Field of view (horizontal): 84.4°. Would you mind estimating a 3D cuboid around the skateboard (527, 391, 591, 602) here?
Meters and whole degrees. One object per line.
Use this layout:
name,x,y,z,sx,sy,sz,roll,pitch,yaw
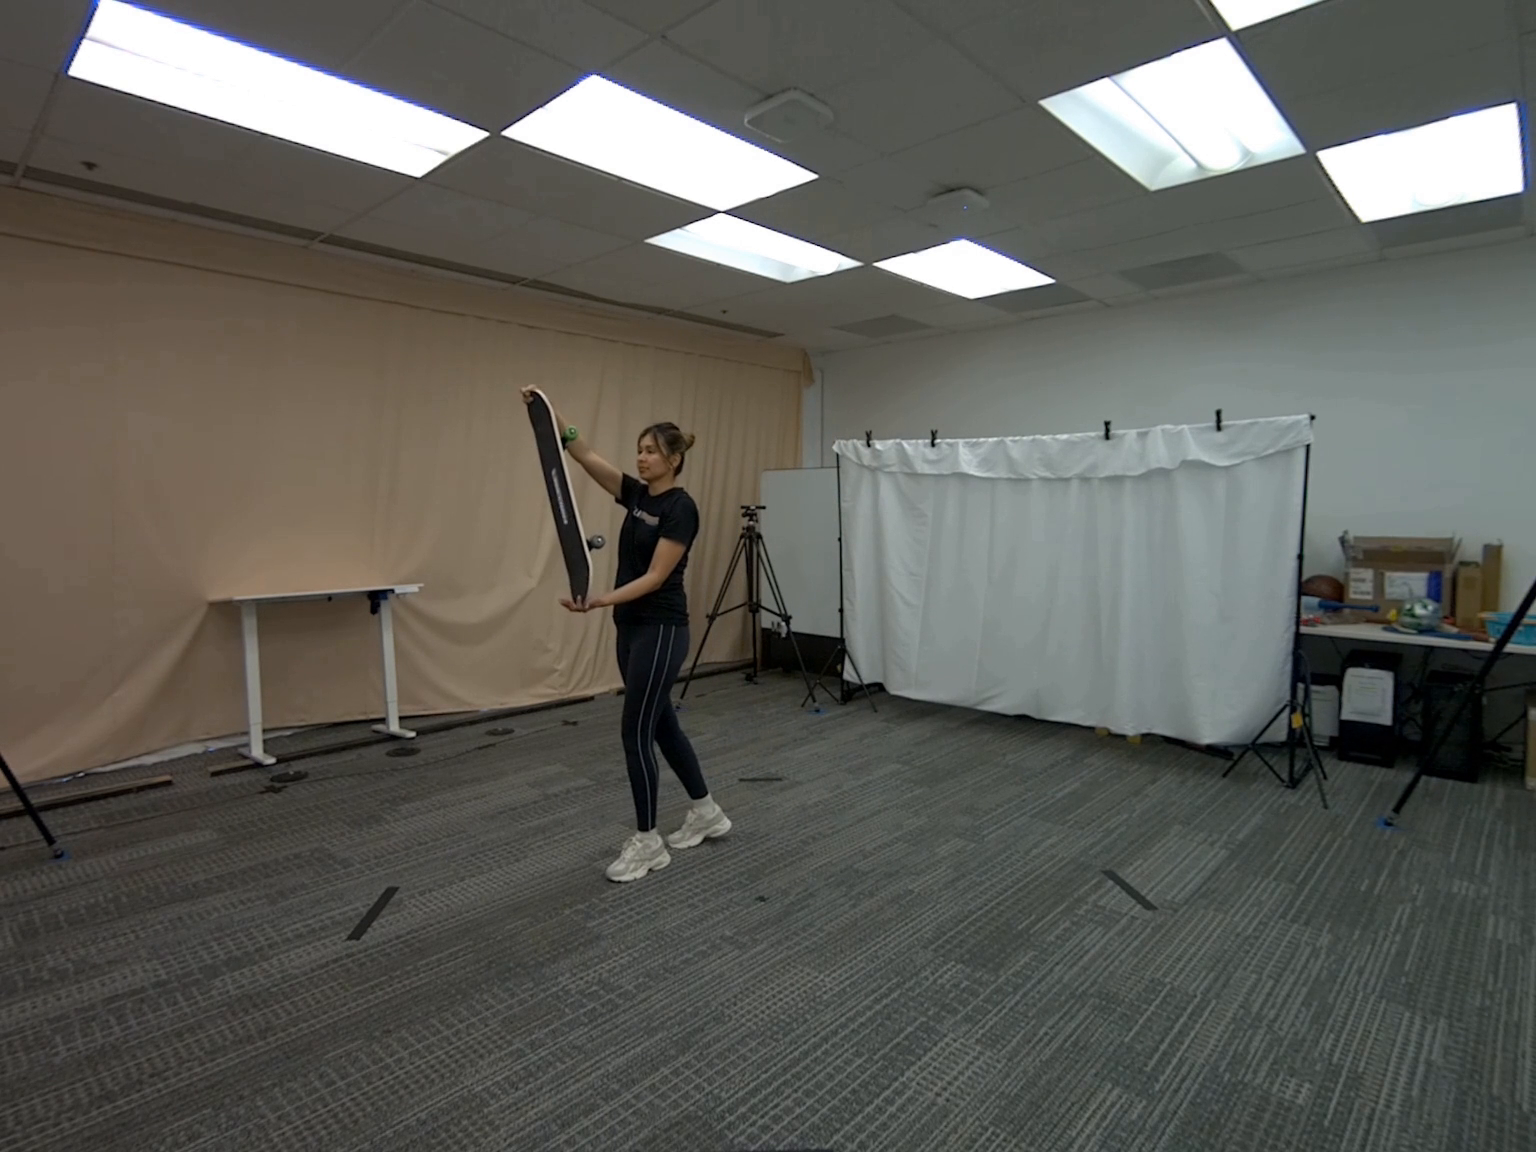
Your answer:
skateboard,-0.698,-0.281,2.946,0.107,0.791,0.197,-10,-9,-33
